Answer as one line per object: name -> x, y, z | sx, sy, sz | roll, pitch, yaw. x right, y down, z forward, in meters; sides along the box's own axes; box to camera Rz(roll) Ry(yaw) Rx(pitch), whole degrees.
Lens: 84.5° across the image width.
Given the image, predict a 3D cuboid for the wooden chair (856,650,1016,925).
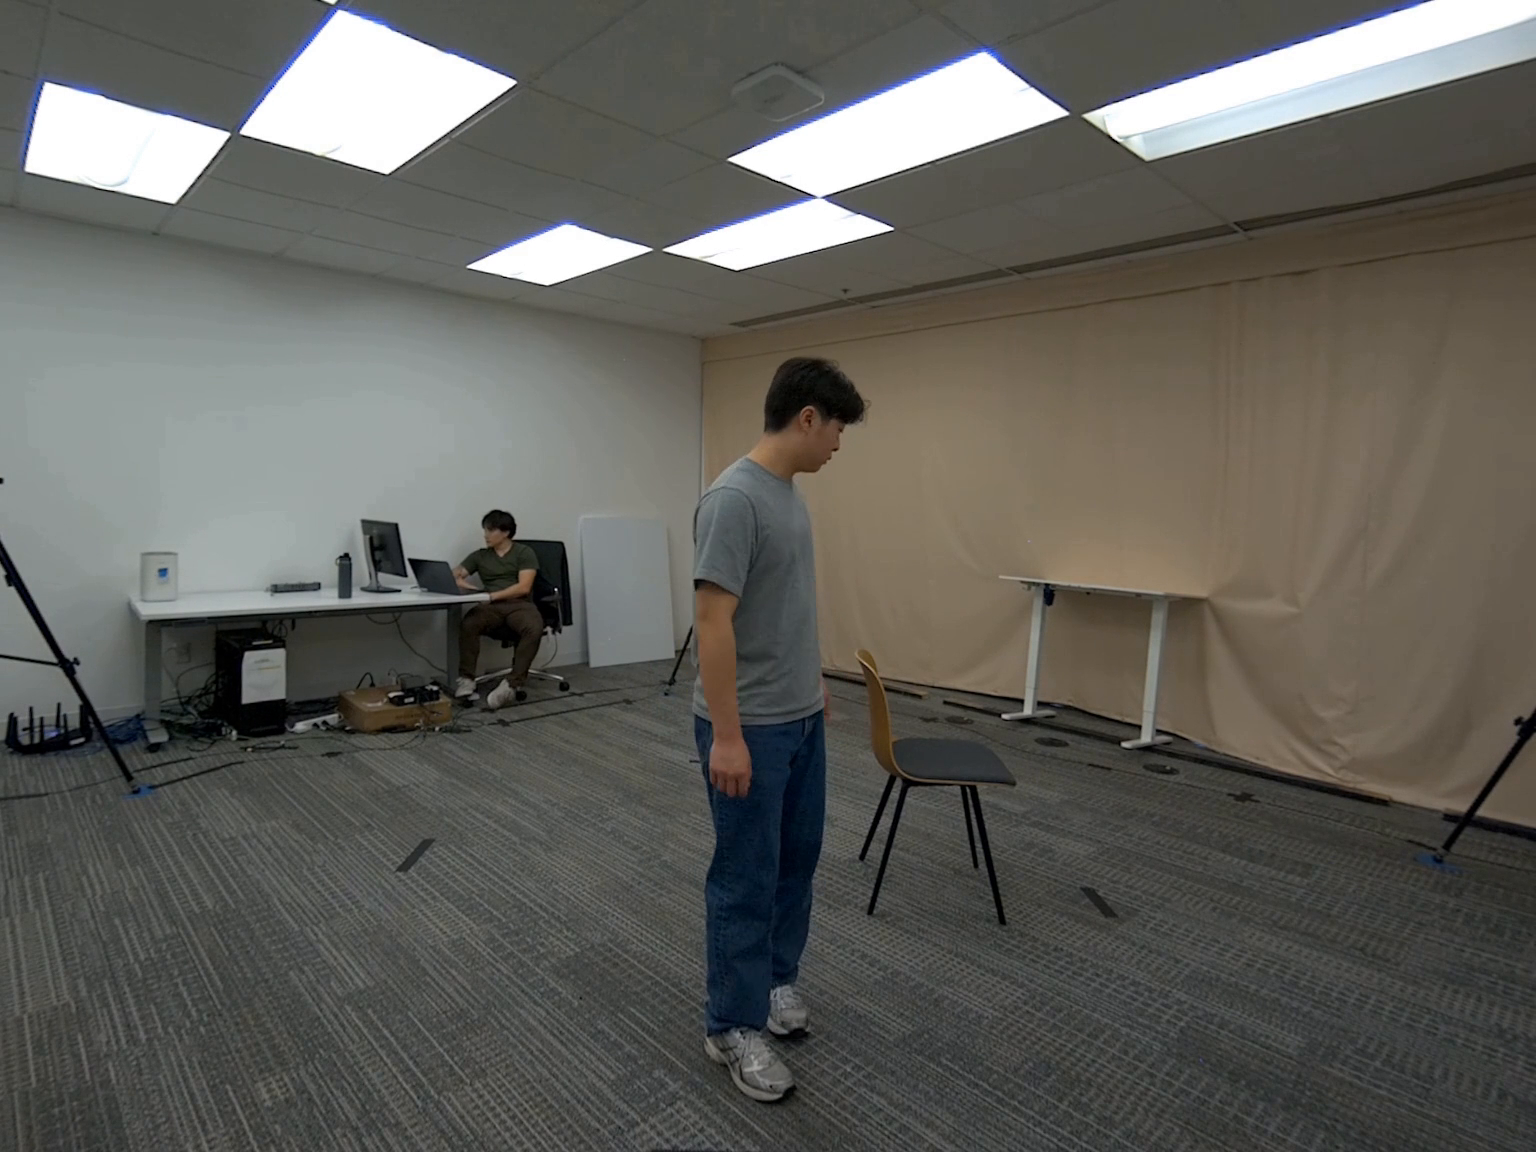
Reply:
wooden chair -> 0.587, 0.706, 3.005 | 0.525, 0.875, 0.478 | -1, 3, 3
